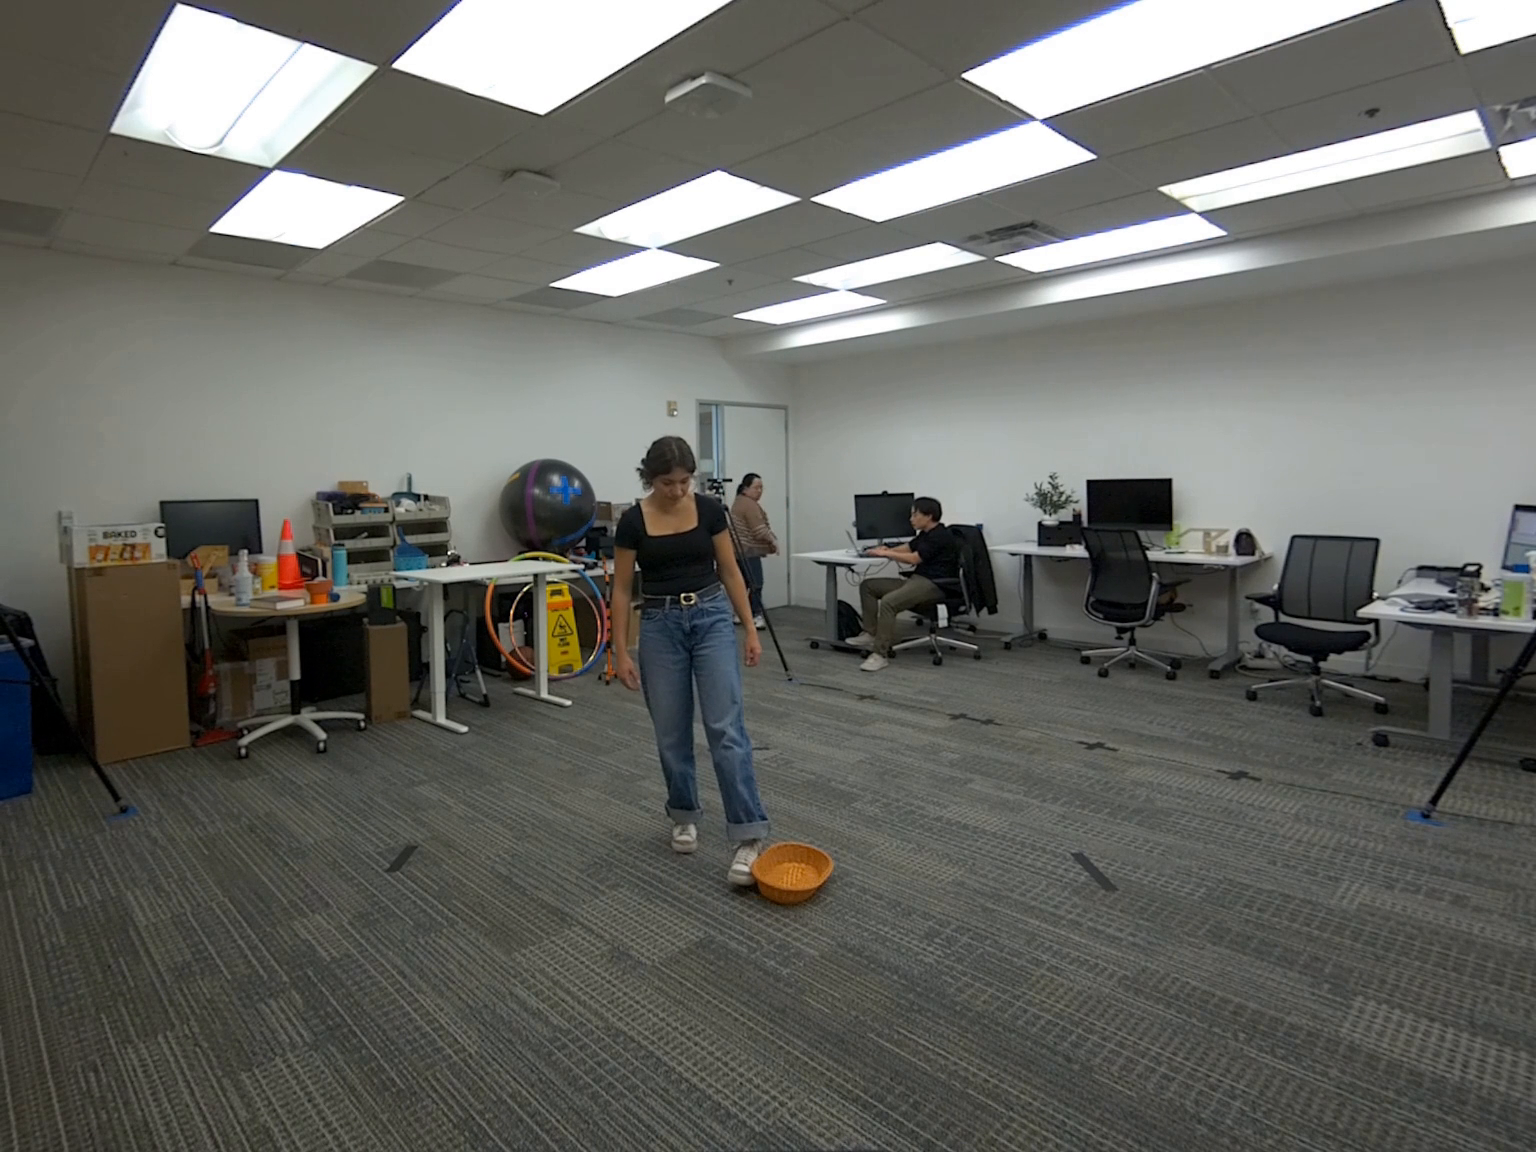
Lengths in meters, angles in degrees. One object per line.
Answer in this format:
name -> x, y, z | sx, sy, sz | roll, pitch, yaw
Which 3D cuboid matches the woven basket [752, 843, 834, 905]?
woven basket -> 0.081, 1.015, 2.925 | 0.260, 0.073, 0.342 | 9, 8, 30
